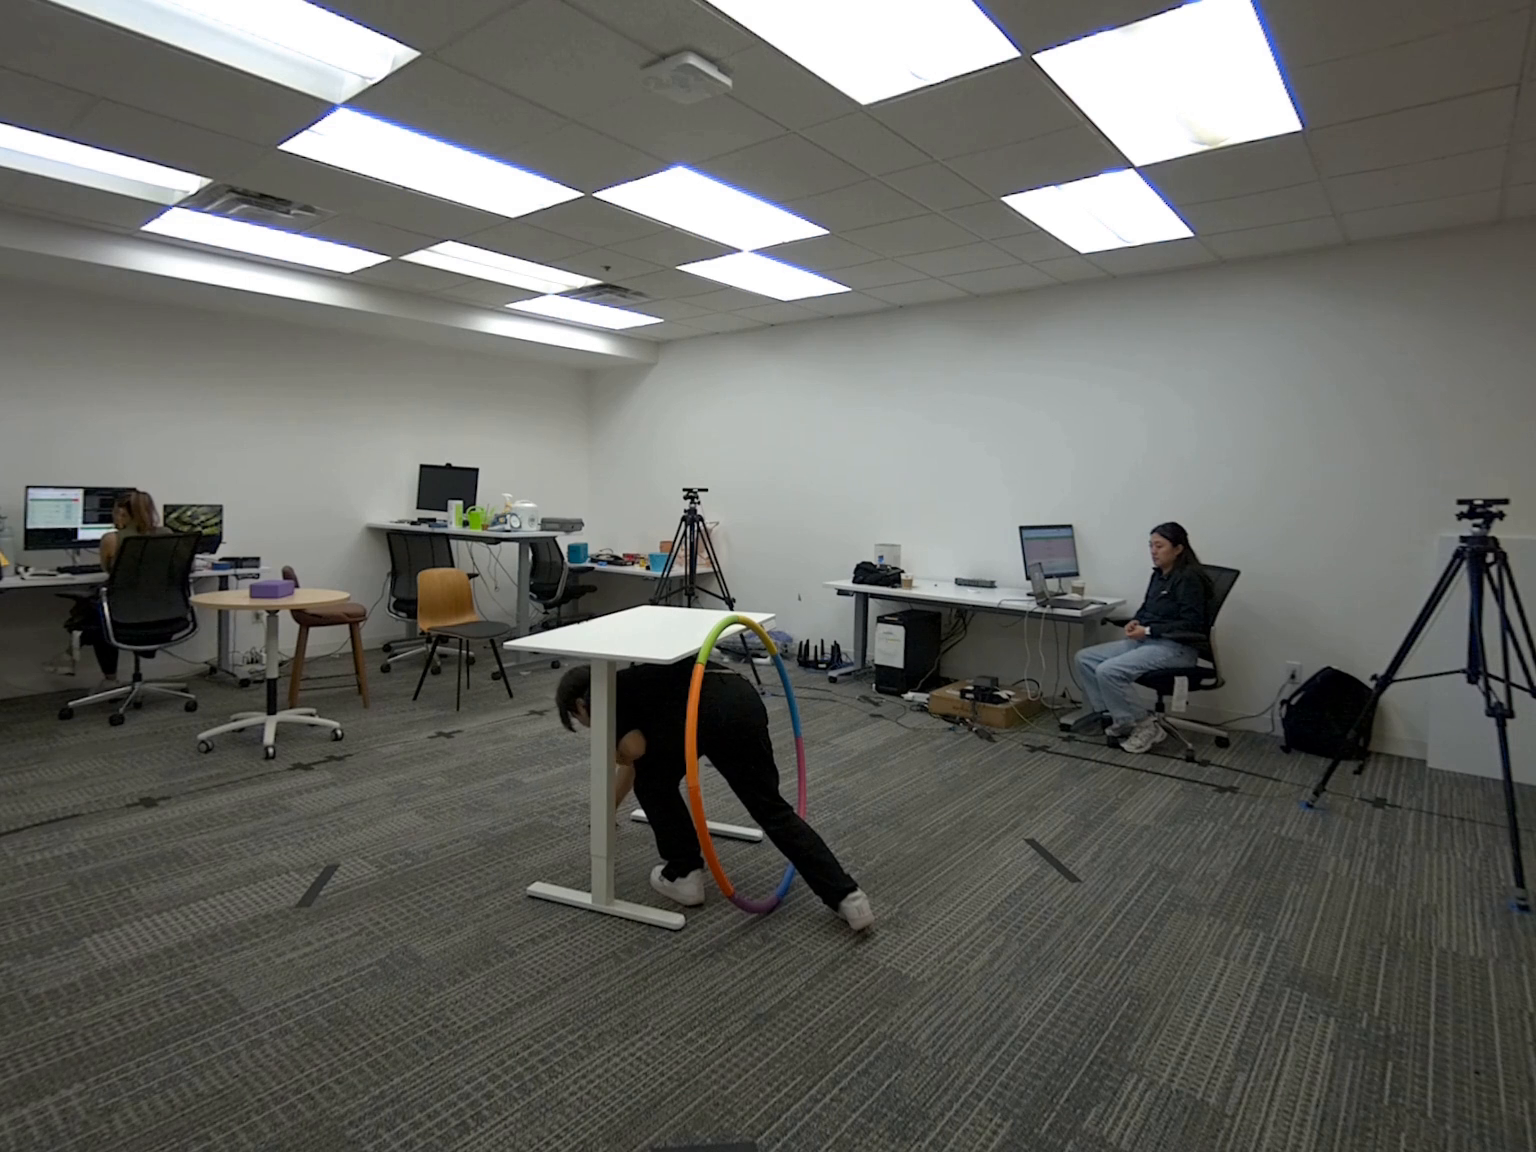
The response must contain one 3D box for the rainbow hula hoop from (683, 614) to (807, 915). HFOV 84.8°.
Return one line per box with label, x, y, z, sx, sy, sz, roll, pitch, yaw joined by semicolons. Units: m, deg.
rainbow hula hoop;-0.059;0.618;2.920;0.036;0.981;0.960;-11;-1;20
